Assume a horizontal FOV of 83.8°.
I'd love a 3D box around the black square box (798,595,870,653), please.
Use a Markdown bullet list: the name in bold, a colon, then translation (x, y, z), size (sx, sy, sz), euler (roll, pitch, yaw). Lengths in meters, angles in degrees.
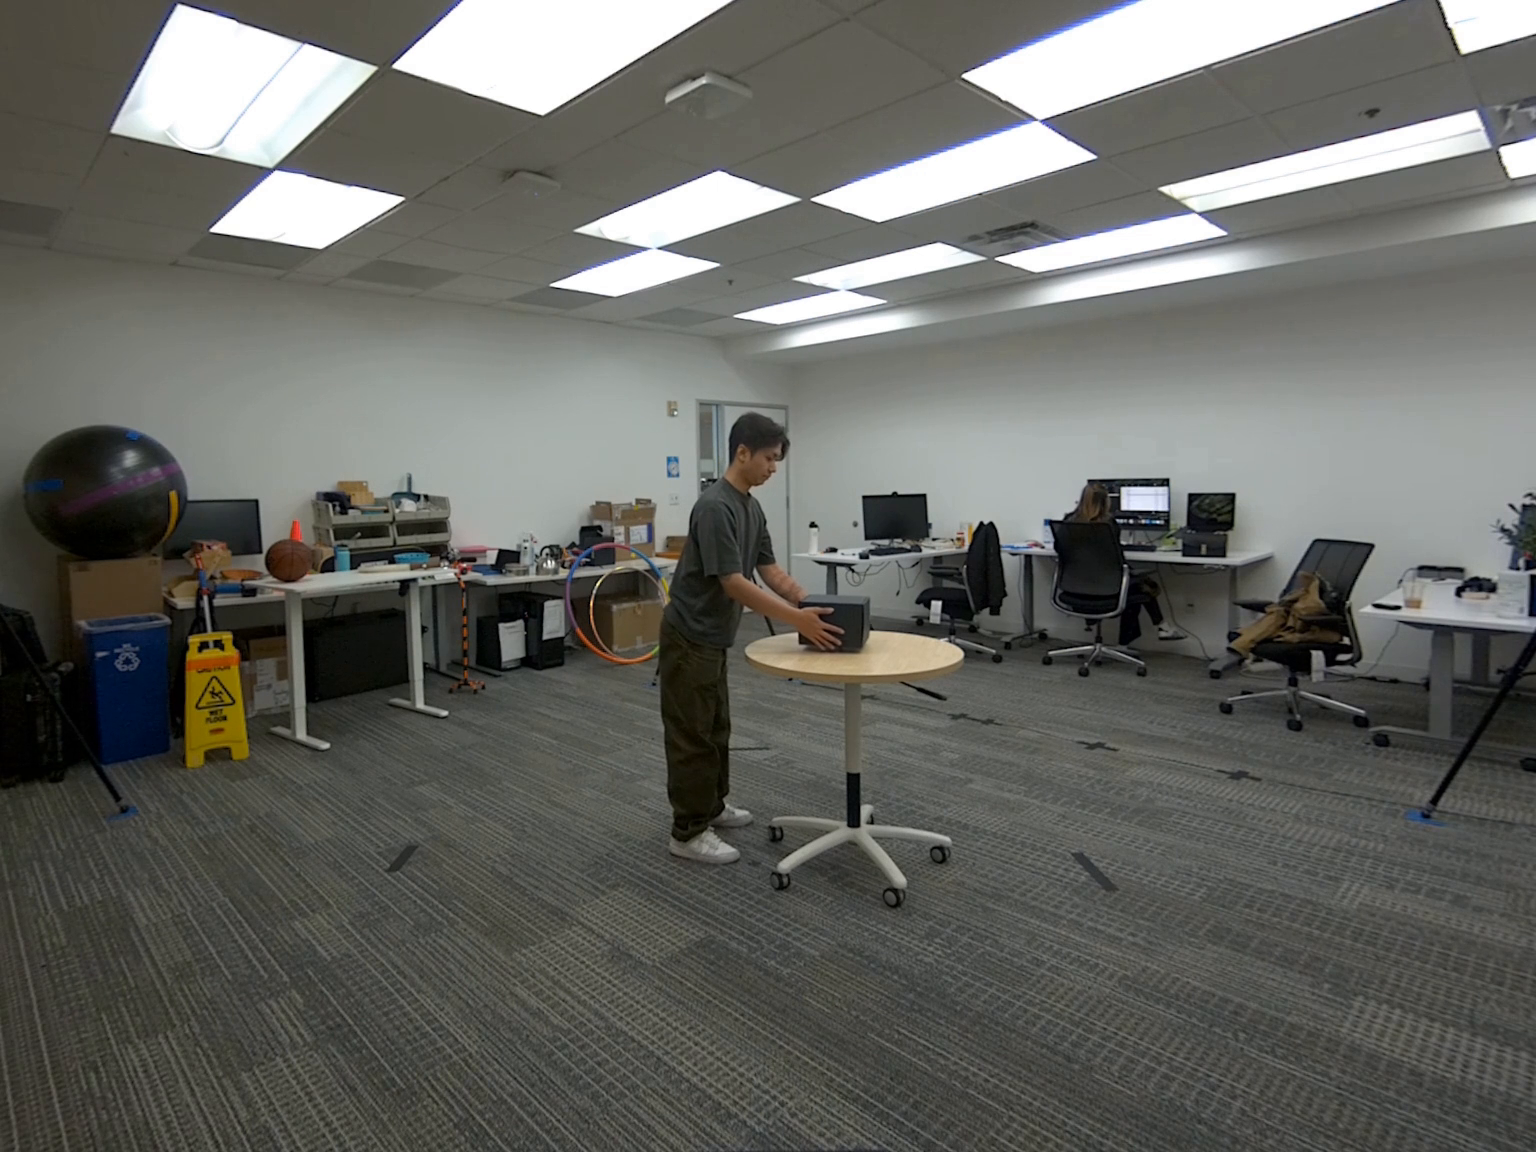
- **black square box**: translation (0.245, 0.157, 3.085), size (0.231, 0.155, 0.214), euler (1, 5, 15)
